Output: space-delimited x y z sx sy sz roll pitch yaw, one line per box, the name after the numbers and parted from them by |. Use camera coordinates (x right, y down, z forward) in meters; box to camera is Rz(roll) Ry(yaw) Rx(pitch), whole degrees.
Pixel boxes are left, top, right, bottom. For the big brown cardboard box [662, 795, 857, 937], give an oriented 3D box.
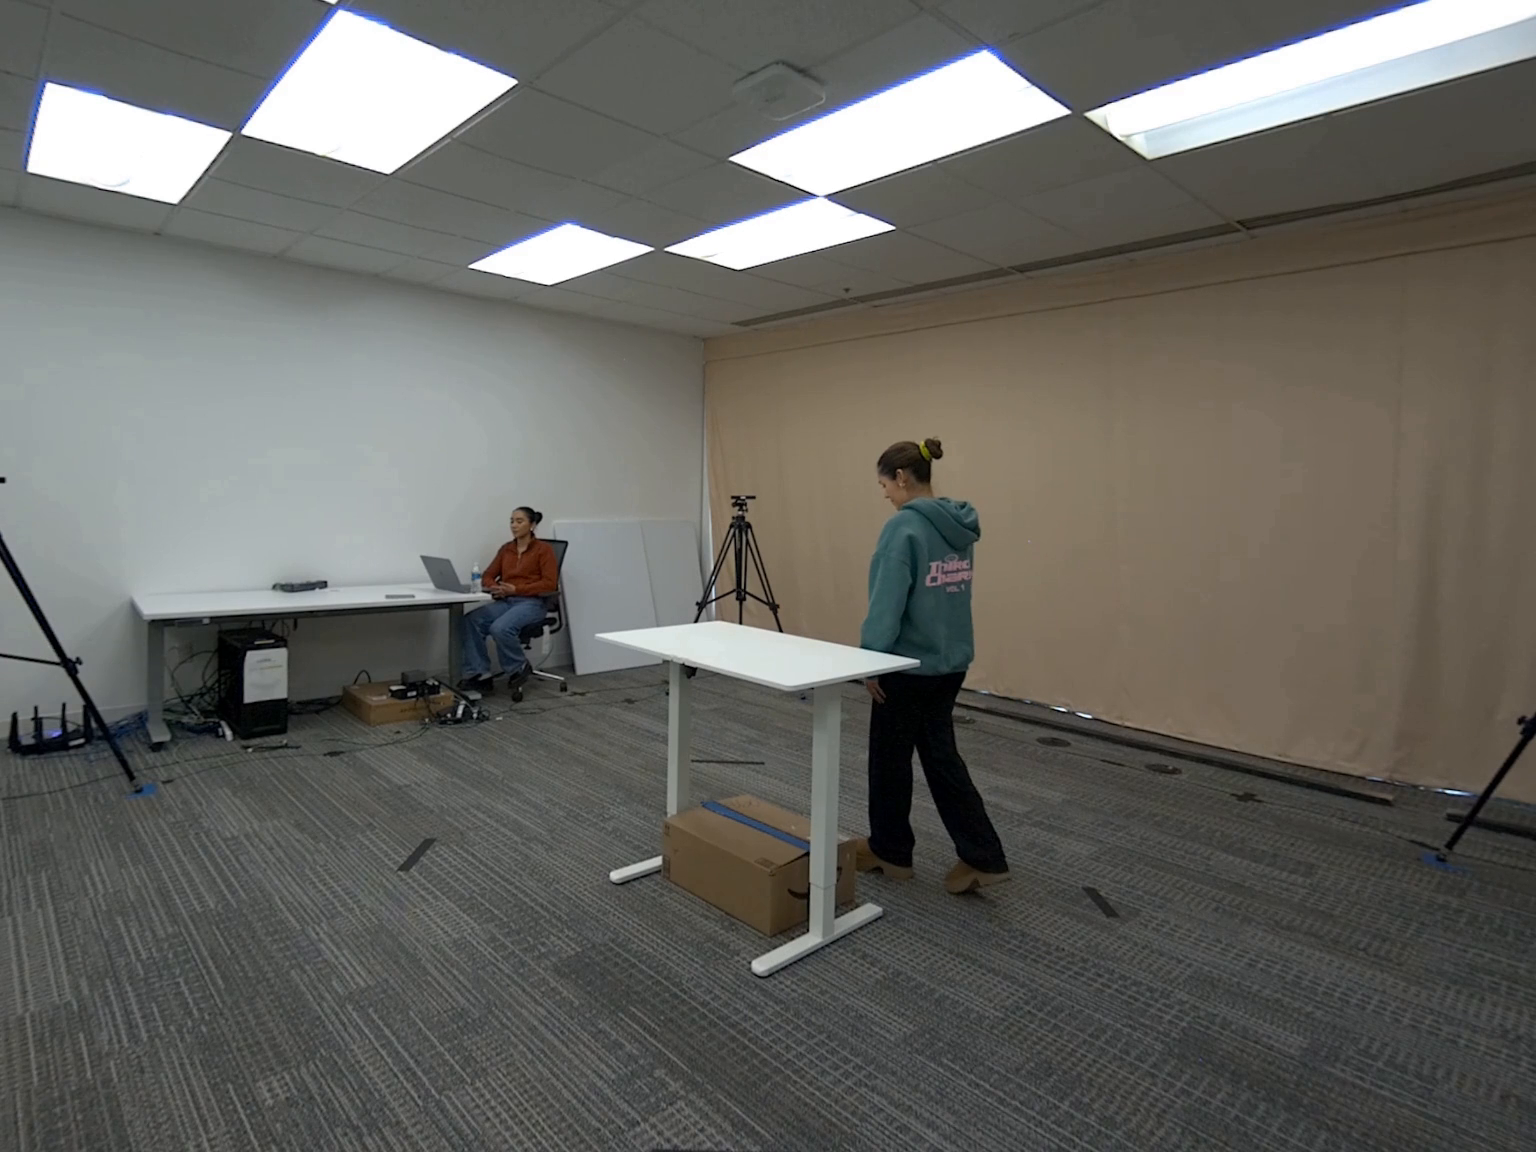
-0.041 1.002 2.993 0.408 0.232 0.604 -4 6 -43 | big brown cardboard box
